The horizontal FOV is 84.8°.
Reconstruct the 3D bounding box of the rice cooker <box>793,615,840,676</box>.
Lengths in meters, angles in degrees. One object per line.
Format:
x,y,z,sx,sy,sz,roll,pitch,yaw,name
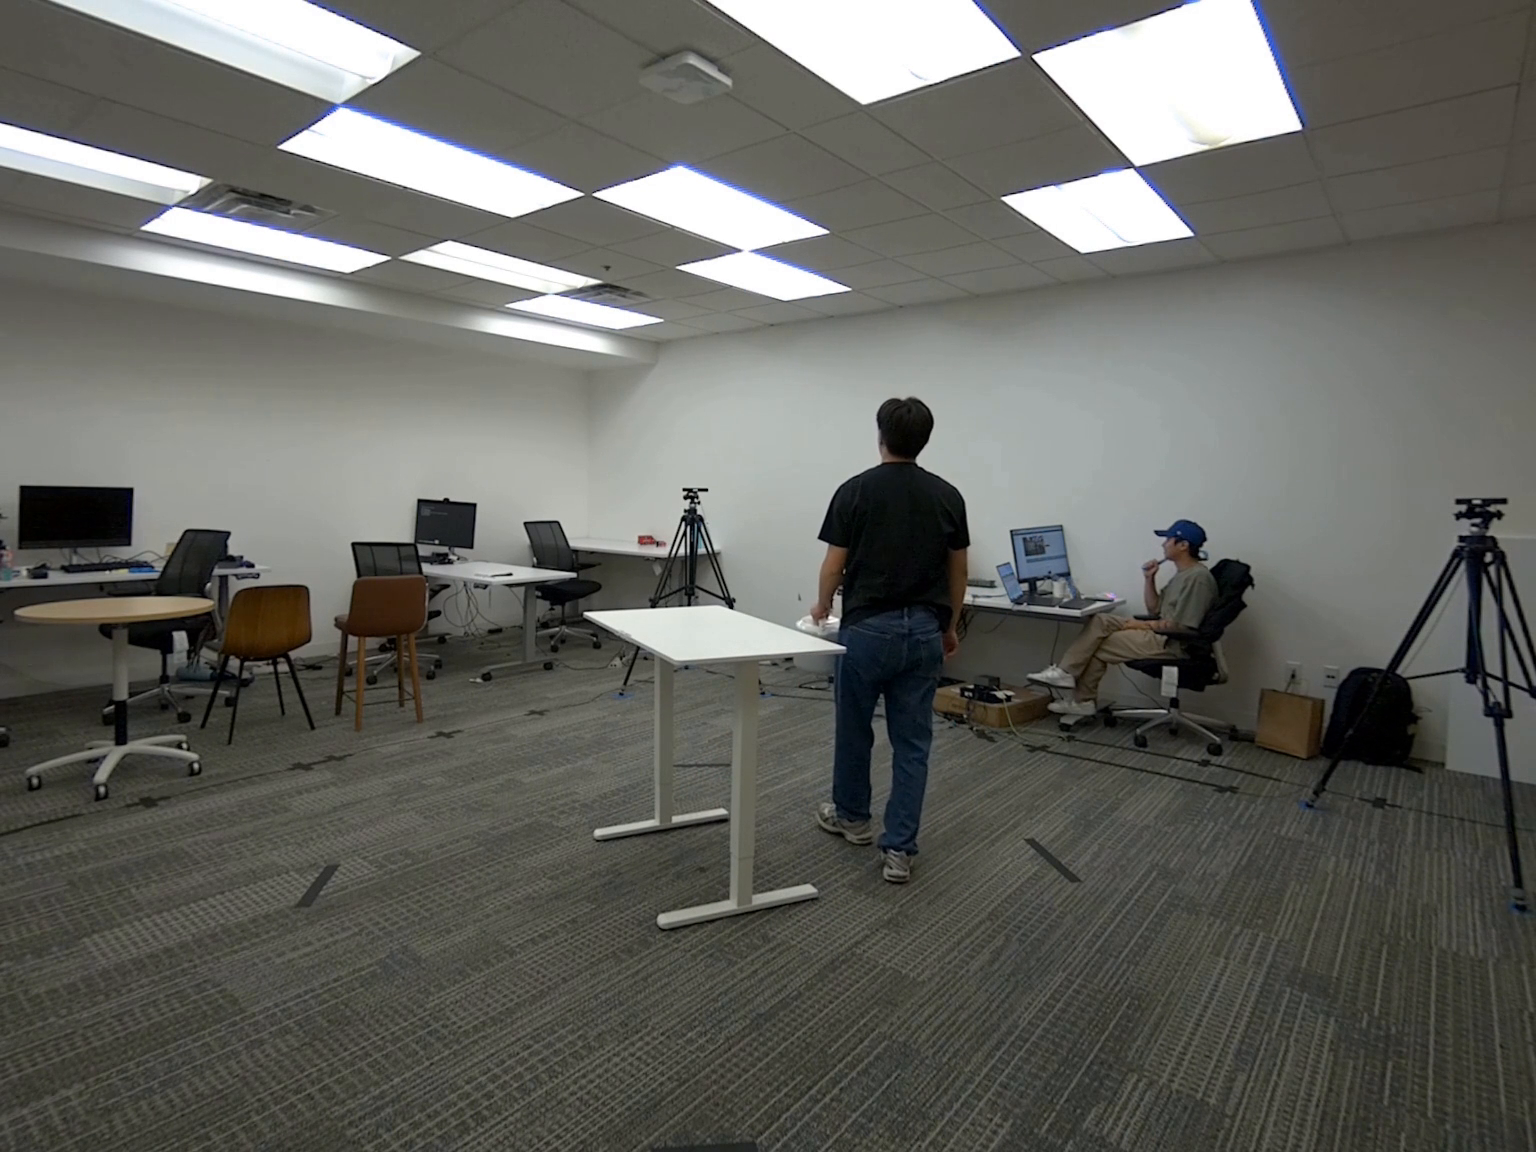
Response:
0.203,0.268,3.478,0.218,0.230,0.223,2,13,0,rice cooker
